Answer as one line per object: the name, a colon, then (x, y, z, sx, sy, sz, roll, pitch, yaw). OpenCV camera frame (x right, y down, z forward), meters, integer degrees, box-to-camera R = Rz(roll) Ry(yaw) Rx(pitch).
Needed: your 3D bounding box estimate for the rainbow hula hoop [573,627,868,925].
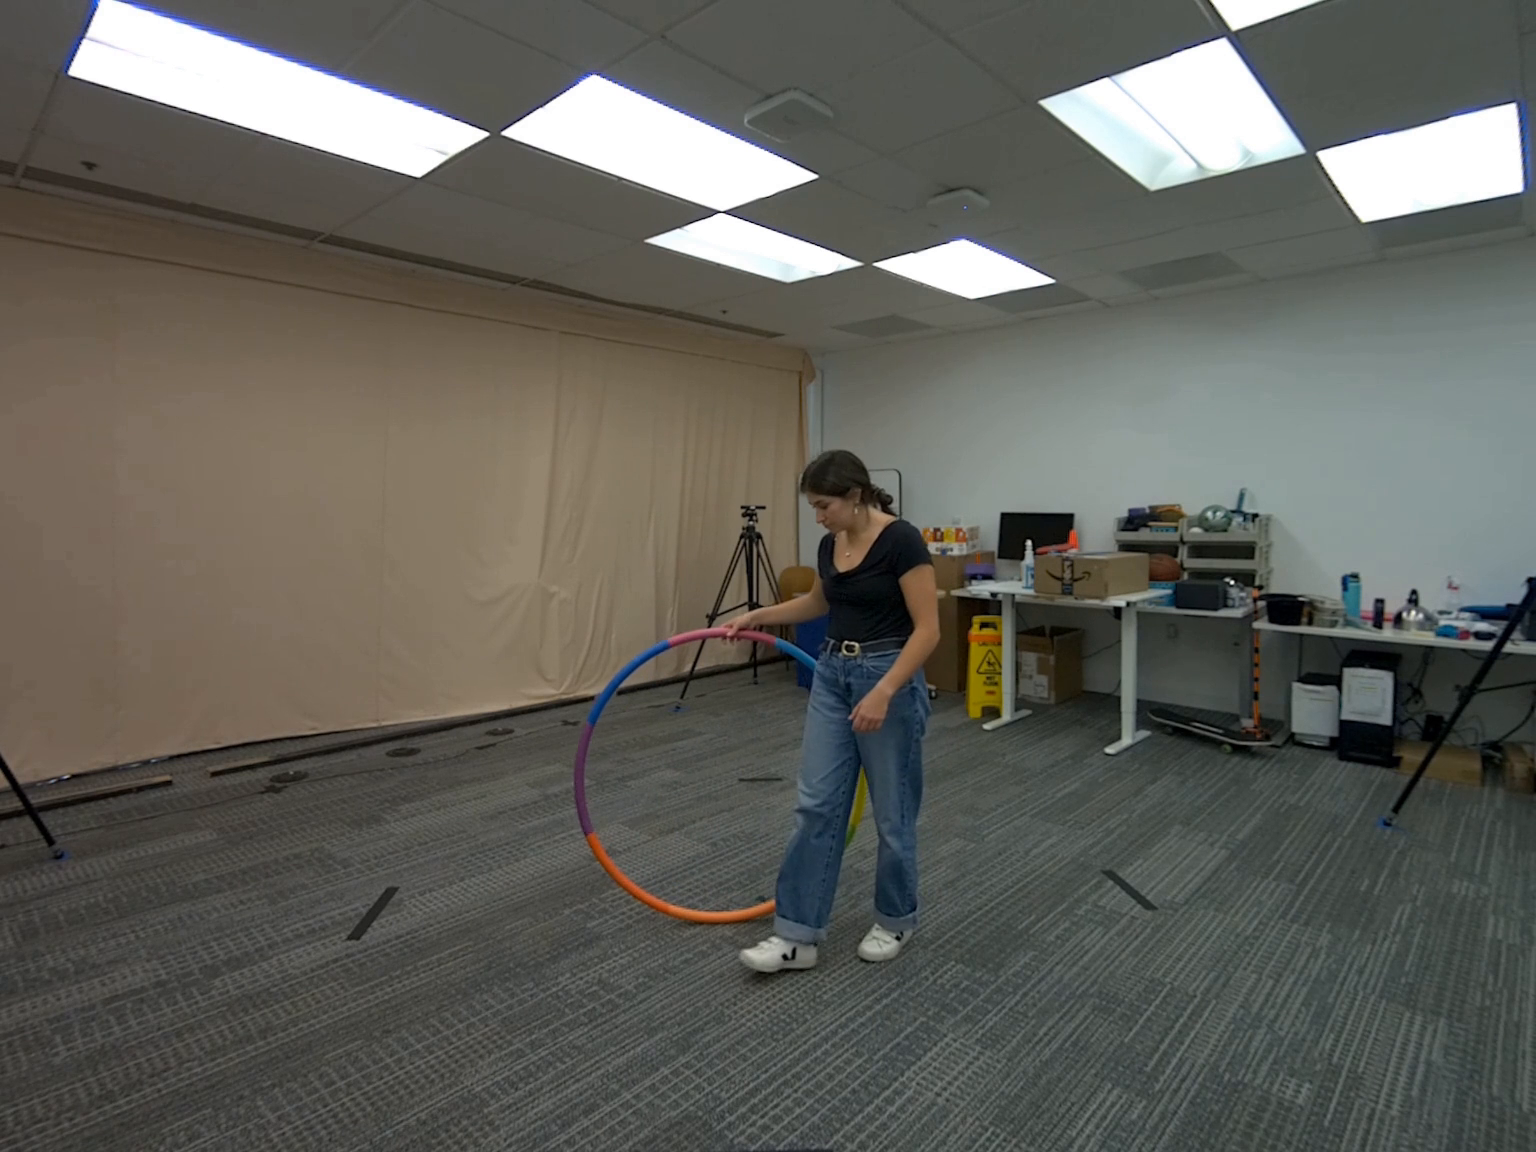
rainbow hula hoop: (-0.148, 0.672, 2.831, 0.974, 0.980, 0.035, 0, -2, -4)
